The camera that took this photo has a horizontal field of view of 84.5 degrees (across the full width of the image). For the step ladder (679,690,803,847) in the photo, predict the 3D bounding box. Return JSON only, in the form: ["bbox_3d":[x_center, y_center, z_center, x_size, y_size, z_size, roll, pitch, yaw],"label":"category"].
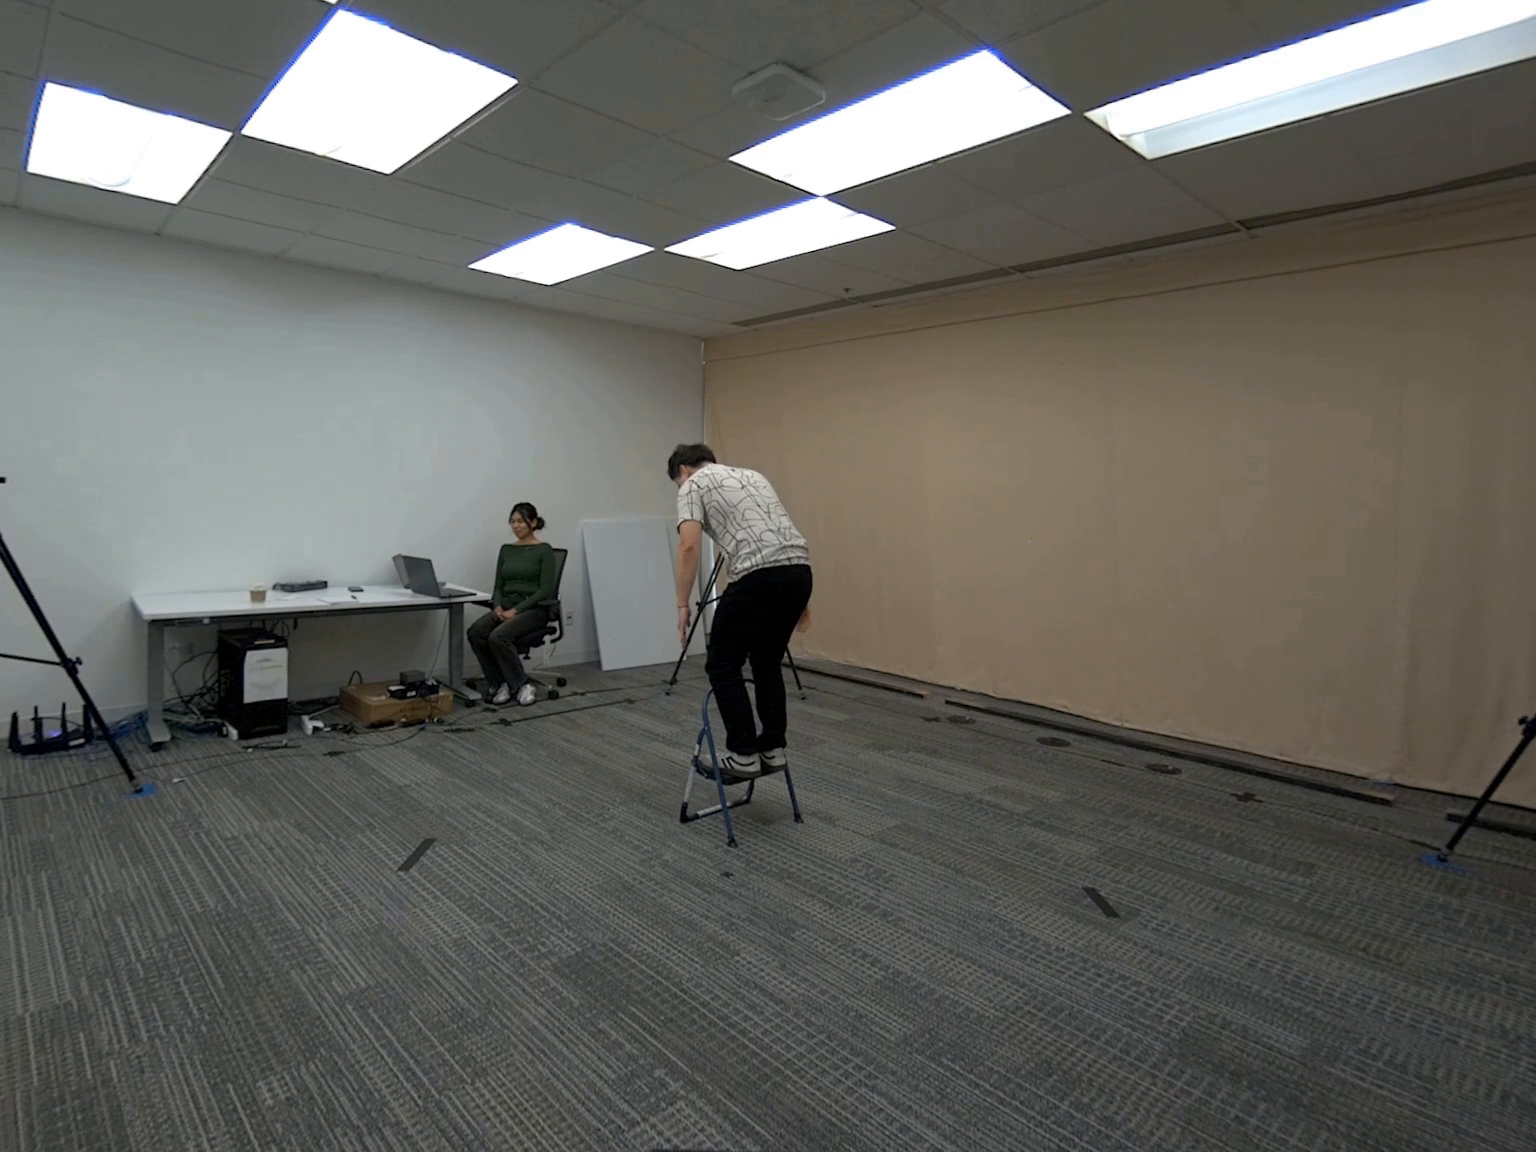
[{"bbox_3d":[-0.117,0.754,3.603,0.358,0.605,0.421,3,4,44],"label":"step ladder"}]
